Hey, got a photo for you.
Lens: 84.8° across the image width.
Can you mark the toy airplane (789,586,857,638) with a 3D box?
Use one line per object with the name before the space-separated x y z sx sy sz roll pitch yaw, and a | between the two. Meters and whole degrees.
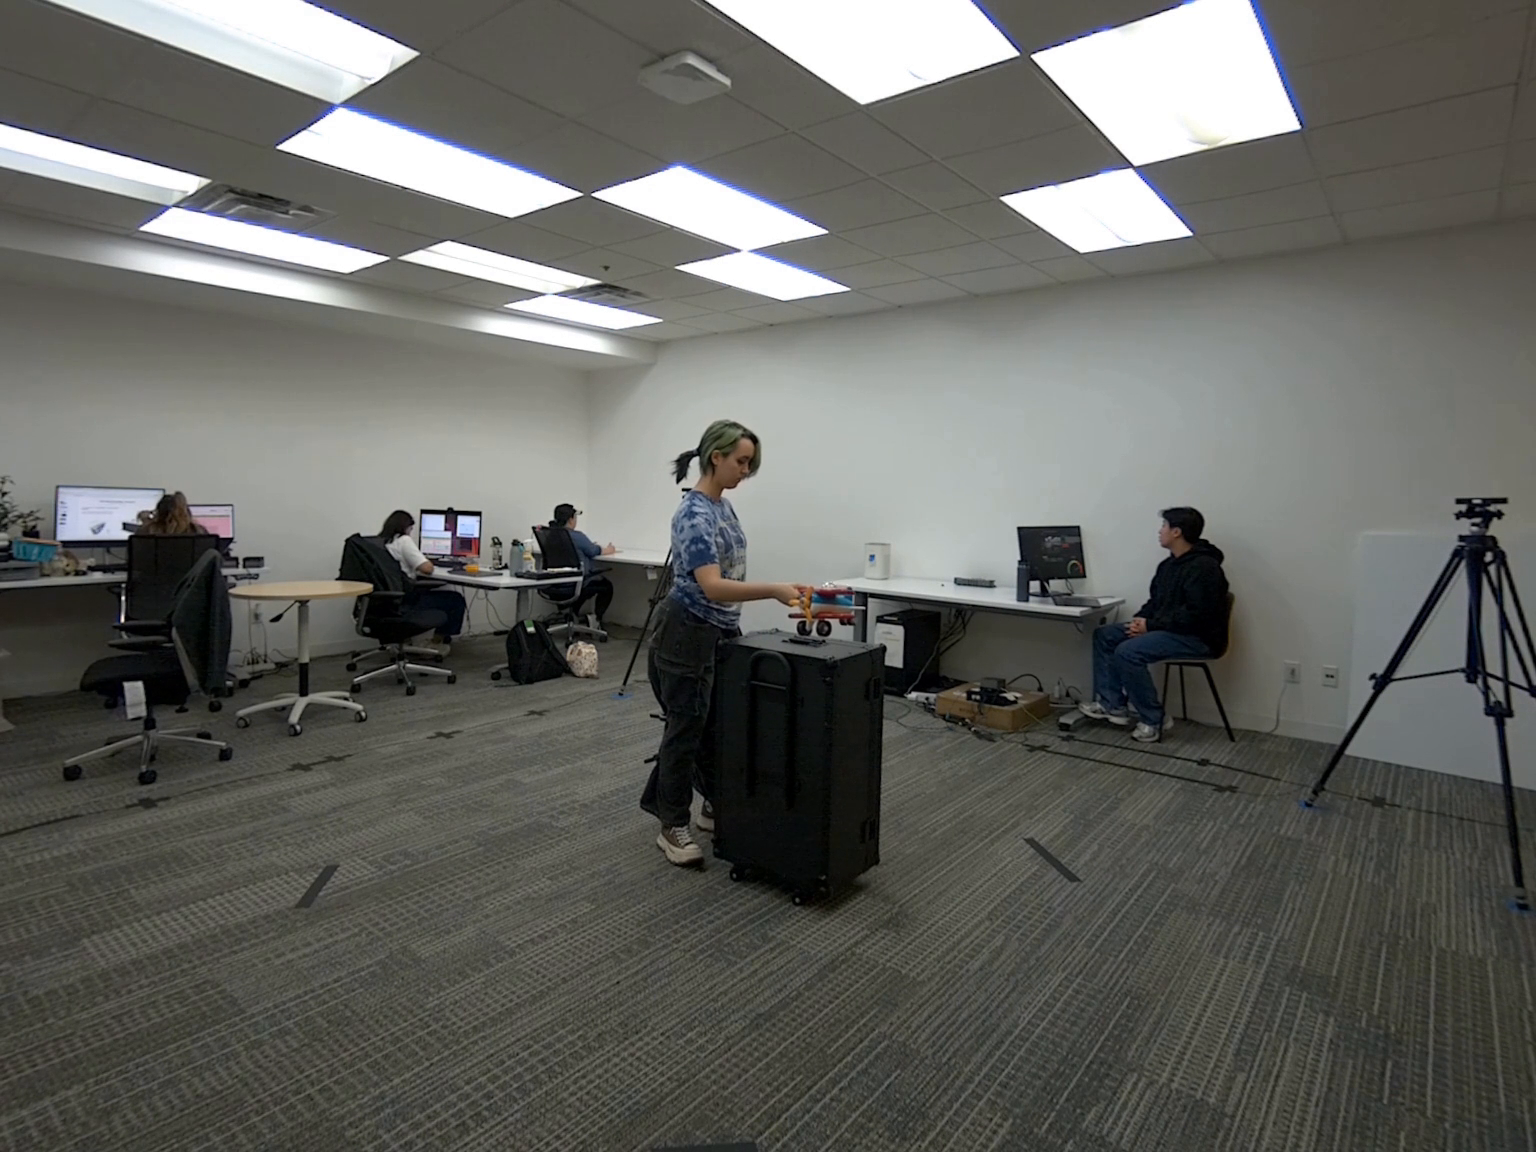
toy airplane | 0.178 0.107 2.874 0.255 0.156 0.256 -7 5 18
